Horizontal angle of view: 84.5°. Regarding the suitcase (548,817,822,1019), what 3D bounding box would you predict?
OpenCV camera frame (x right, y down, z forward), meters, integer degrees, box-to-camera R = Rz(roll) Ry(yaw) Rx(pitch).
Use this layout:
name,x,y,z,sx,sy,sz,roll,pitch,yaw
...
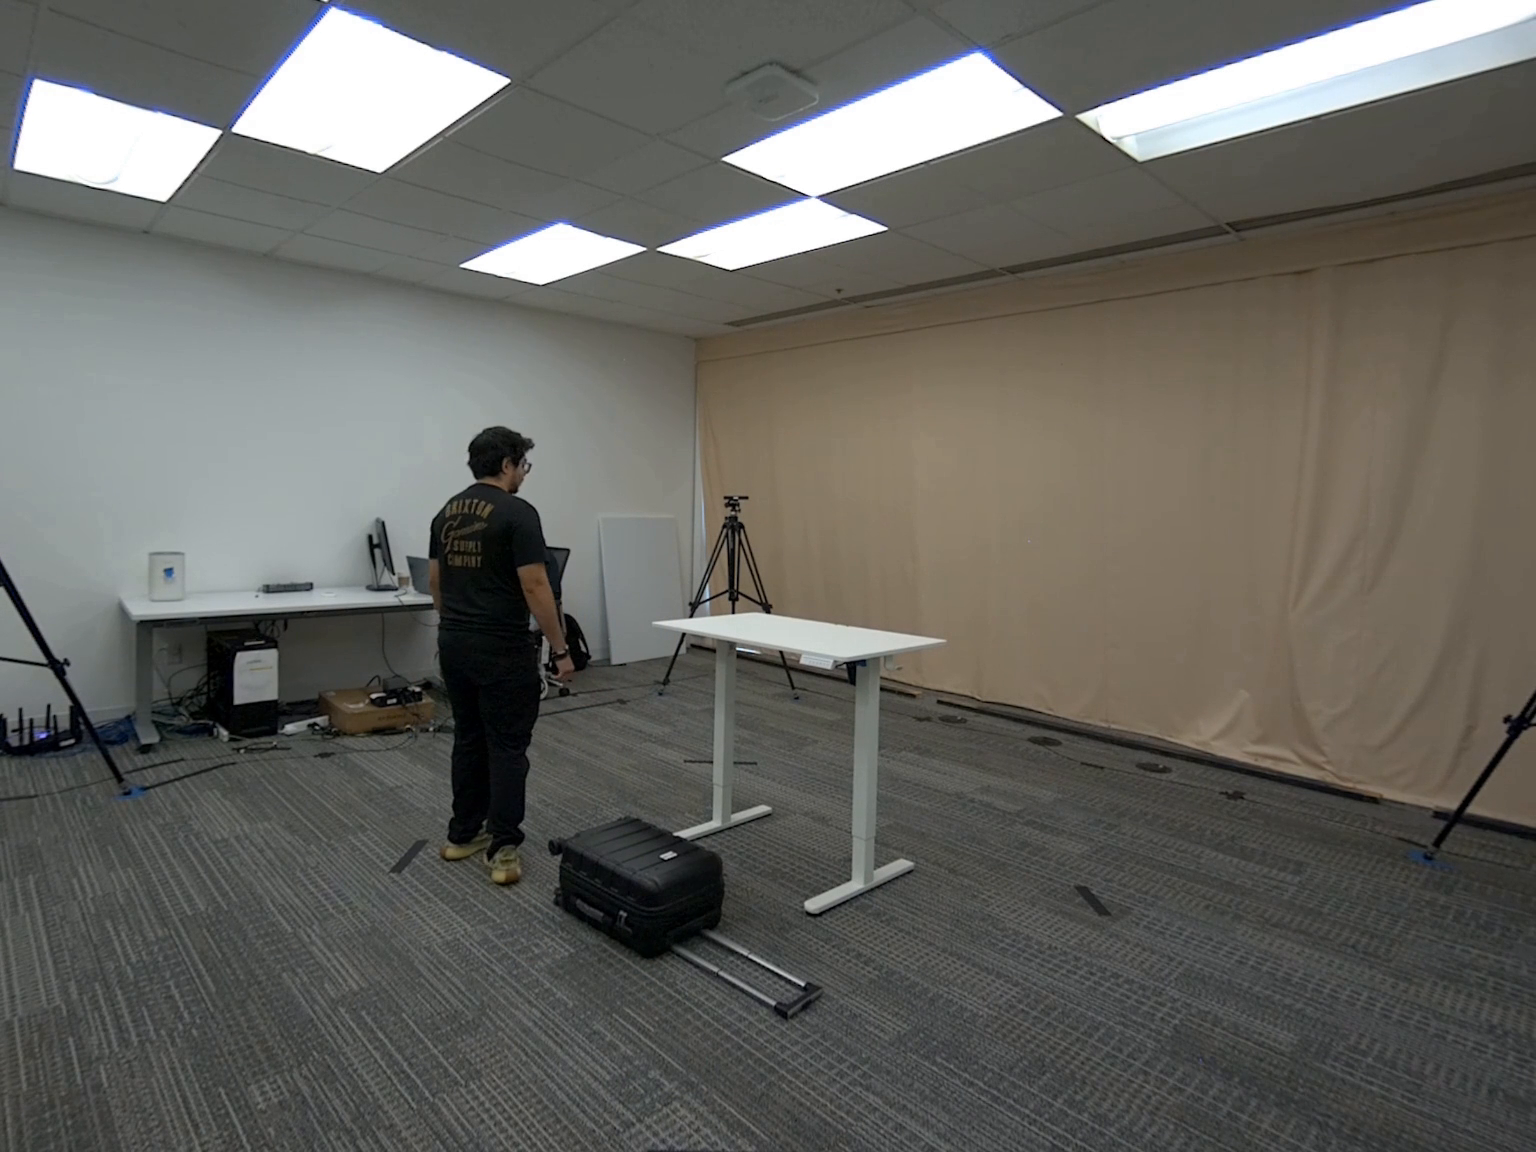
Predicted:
name,x,y,z,sx,sy,sz,roll,pitch,yaw
suitcase,-0.273,1.020,2.629,1.003,0.256,0.375,4,4,42
